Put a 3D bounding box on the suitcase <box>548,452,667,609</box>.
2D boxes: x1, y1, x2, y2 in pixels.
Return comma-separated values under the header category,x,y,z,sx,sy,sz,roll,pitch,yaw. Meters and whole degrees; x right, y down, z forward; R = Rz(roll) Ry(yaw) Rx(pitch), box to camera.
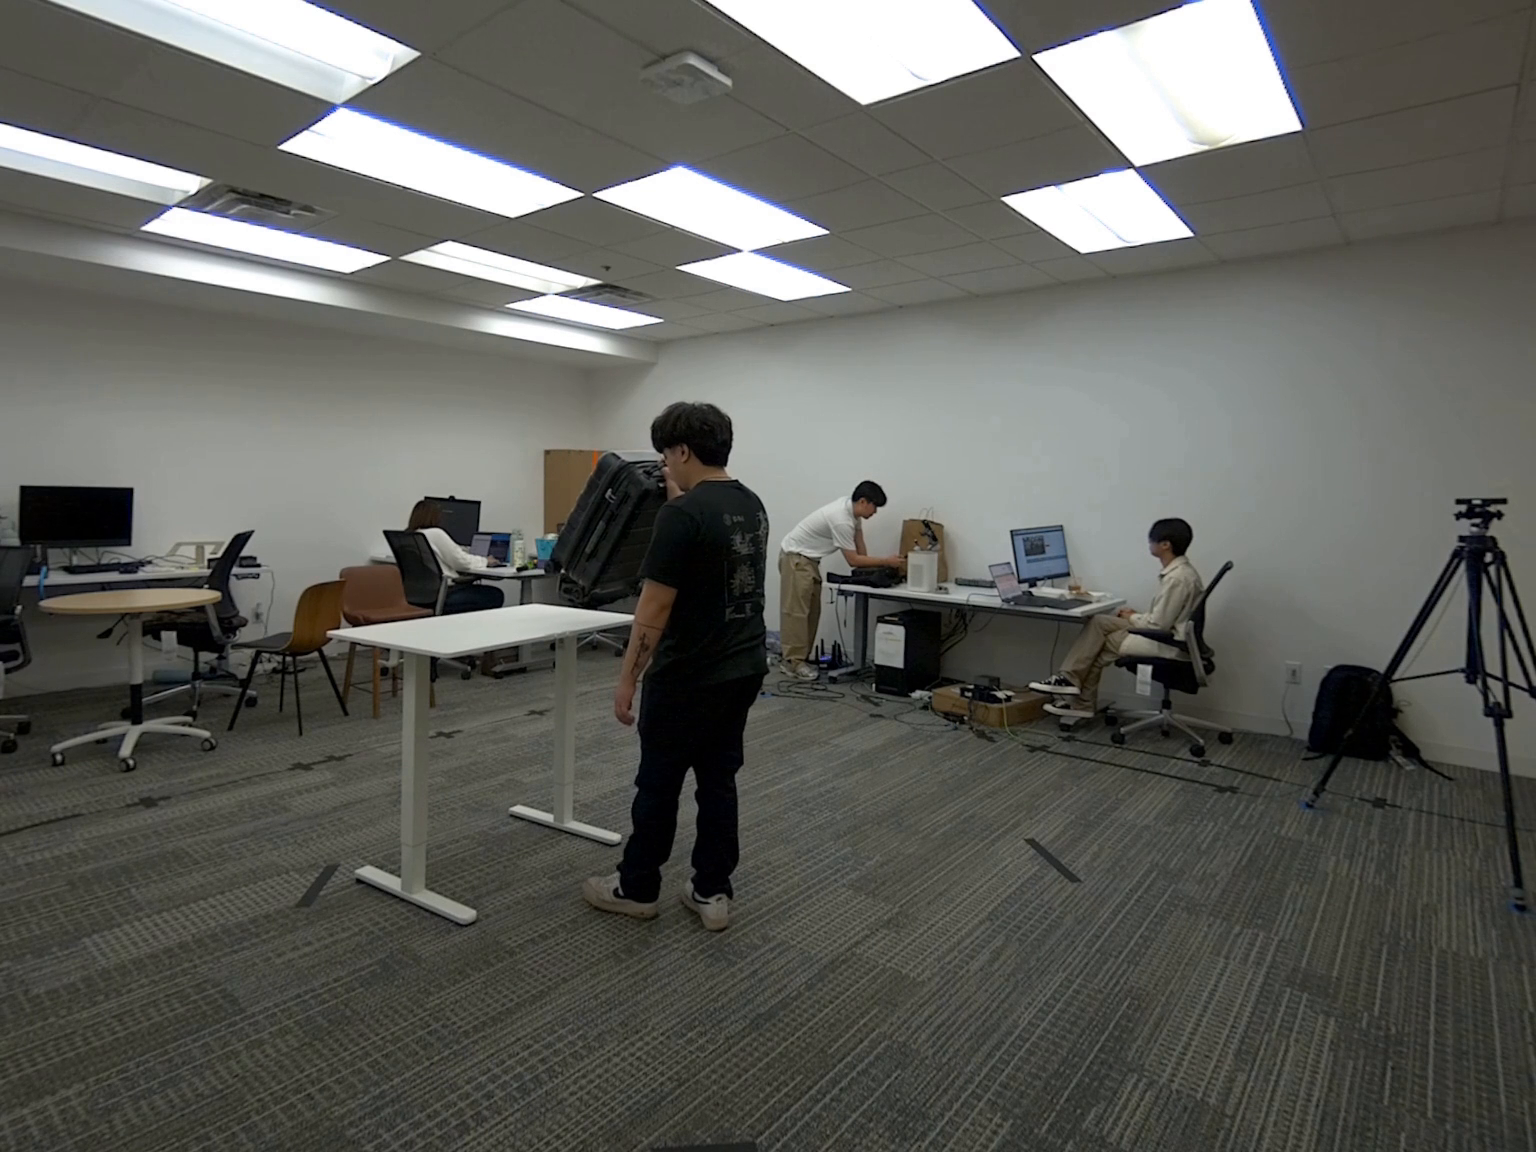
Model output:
category,x,y,z,sx,sy,sz,roll,pitch,yaw
suitcase,-0.556,-0.194,3.139,0.256,0.546,0.366,40,21,20
